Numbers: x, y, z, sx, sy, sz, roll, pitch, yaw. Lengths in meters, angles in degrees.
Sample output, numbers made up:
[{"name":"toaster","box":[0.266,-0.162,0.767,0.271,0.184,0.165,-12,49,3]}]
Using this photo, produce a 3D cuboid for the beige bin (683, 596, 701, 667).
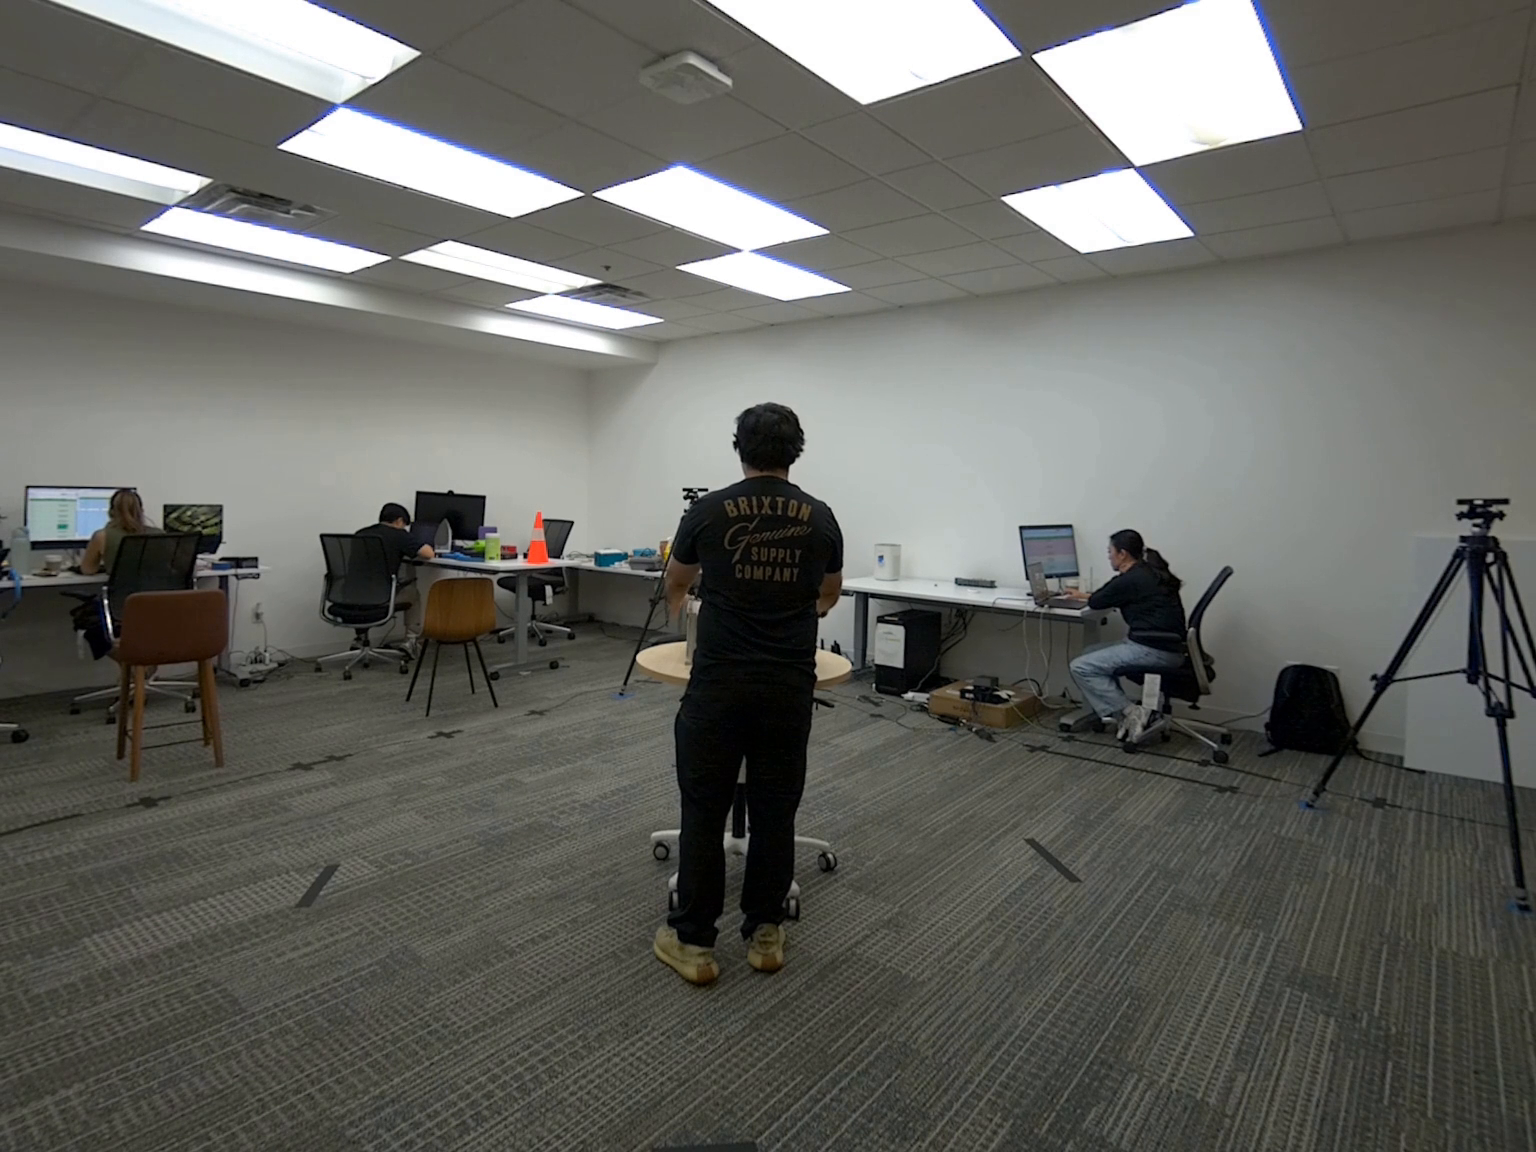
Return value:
[{"name":"beige bin","box":[-0.092,0.195,3.093,0.421,0.188,0.380,1,5,-3]}]
